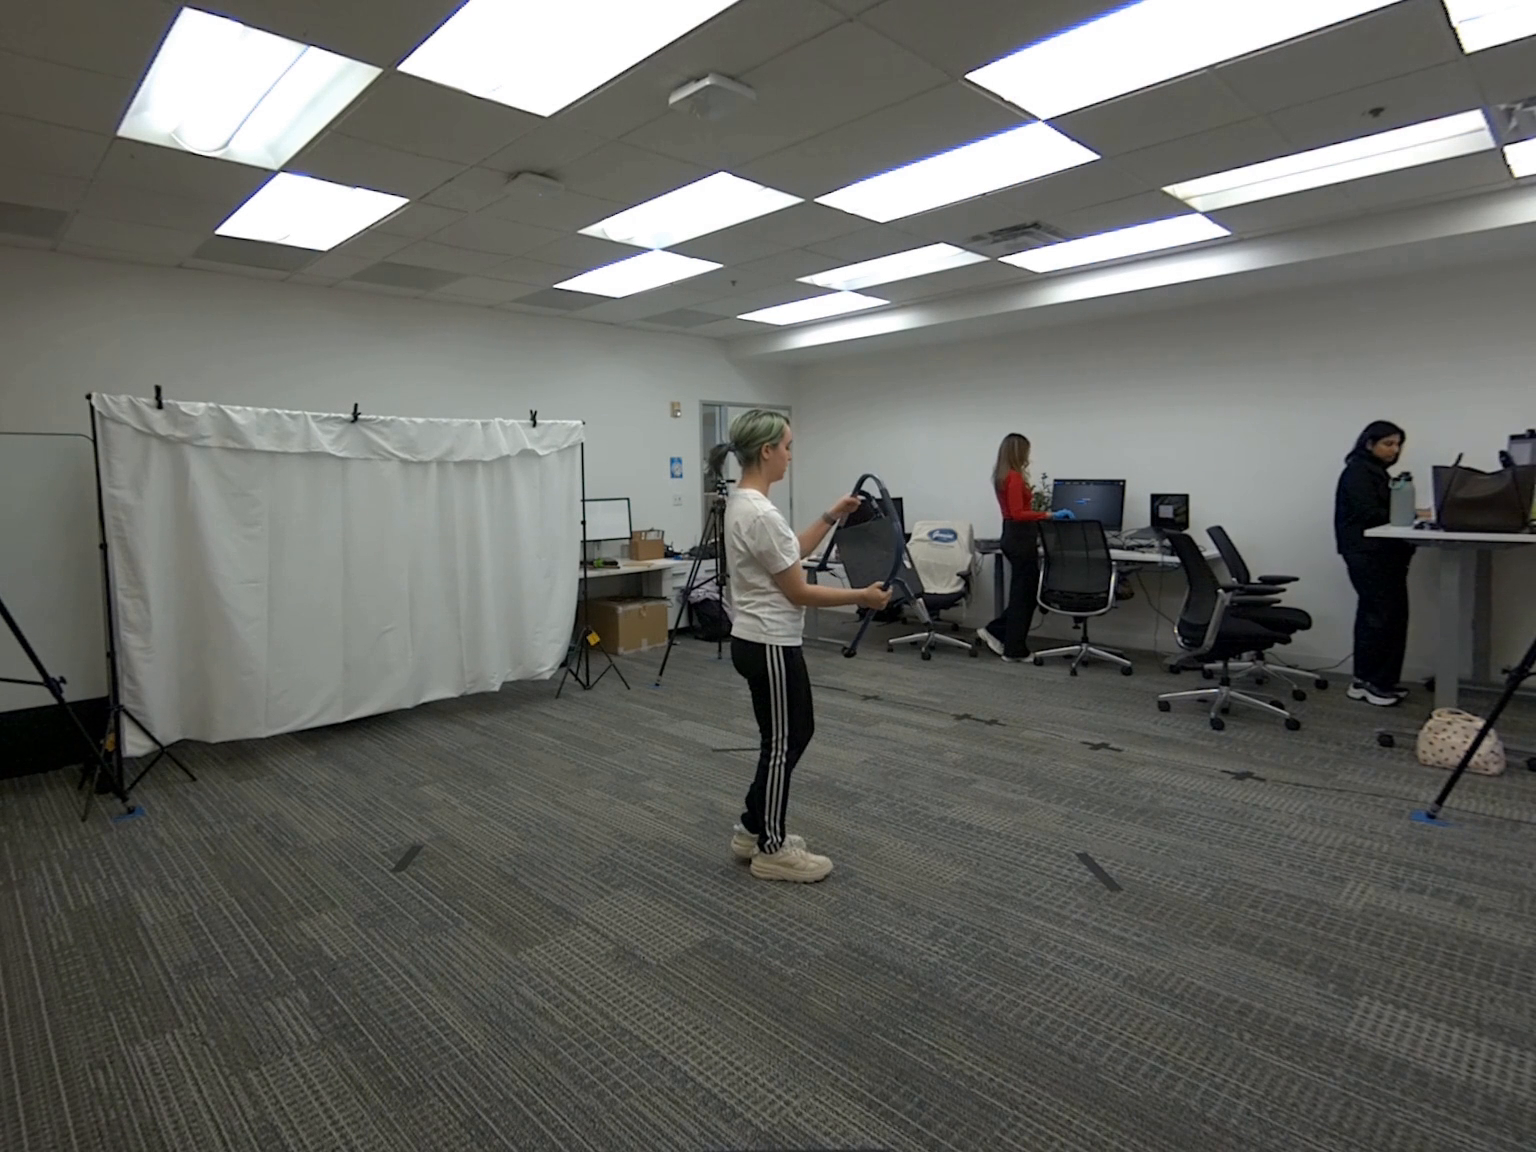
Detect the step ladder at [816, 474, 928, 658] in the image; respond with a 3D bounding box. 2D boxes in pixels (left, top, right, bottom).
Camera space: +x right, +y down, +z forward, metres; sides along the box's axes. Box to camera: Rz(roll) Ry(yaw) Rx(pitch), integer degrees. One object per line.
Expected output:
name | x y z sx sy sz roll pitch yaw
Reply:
step ladder | 0.364 -0.064 3.067 0.349 0.444 0.587 -16 -34 -1
